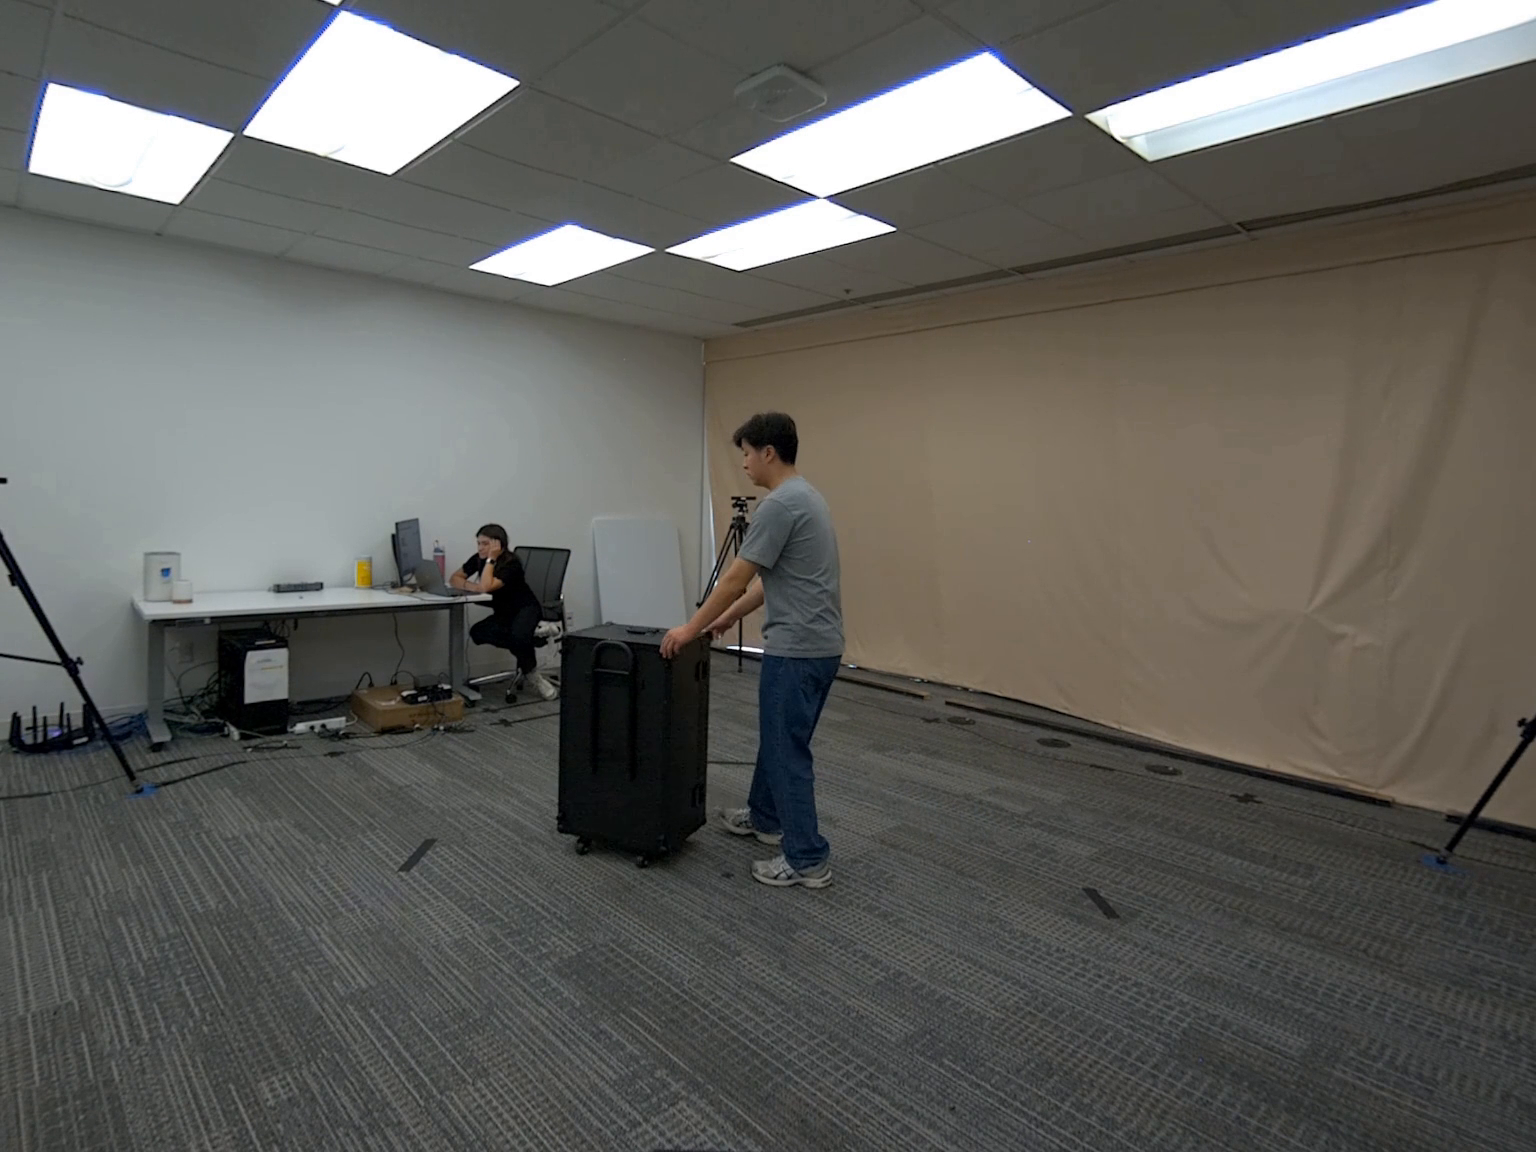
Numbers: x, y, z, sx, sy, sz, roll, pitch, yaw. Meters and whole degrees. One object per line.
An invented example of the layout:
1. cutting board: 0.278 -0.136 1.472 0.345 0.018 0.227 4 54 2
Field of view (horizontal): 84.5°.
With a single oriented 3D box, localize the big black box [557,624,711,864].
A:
1. big black box: -0.528 0.650 3.323 0.530 0.859 0.390 3 4 22
